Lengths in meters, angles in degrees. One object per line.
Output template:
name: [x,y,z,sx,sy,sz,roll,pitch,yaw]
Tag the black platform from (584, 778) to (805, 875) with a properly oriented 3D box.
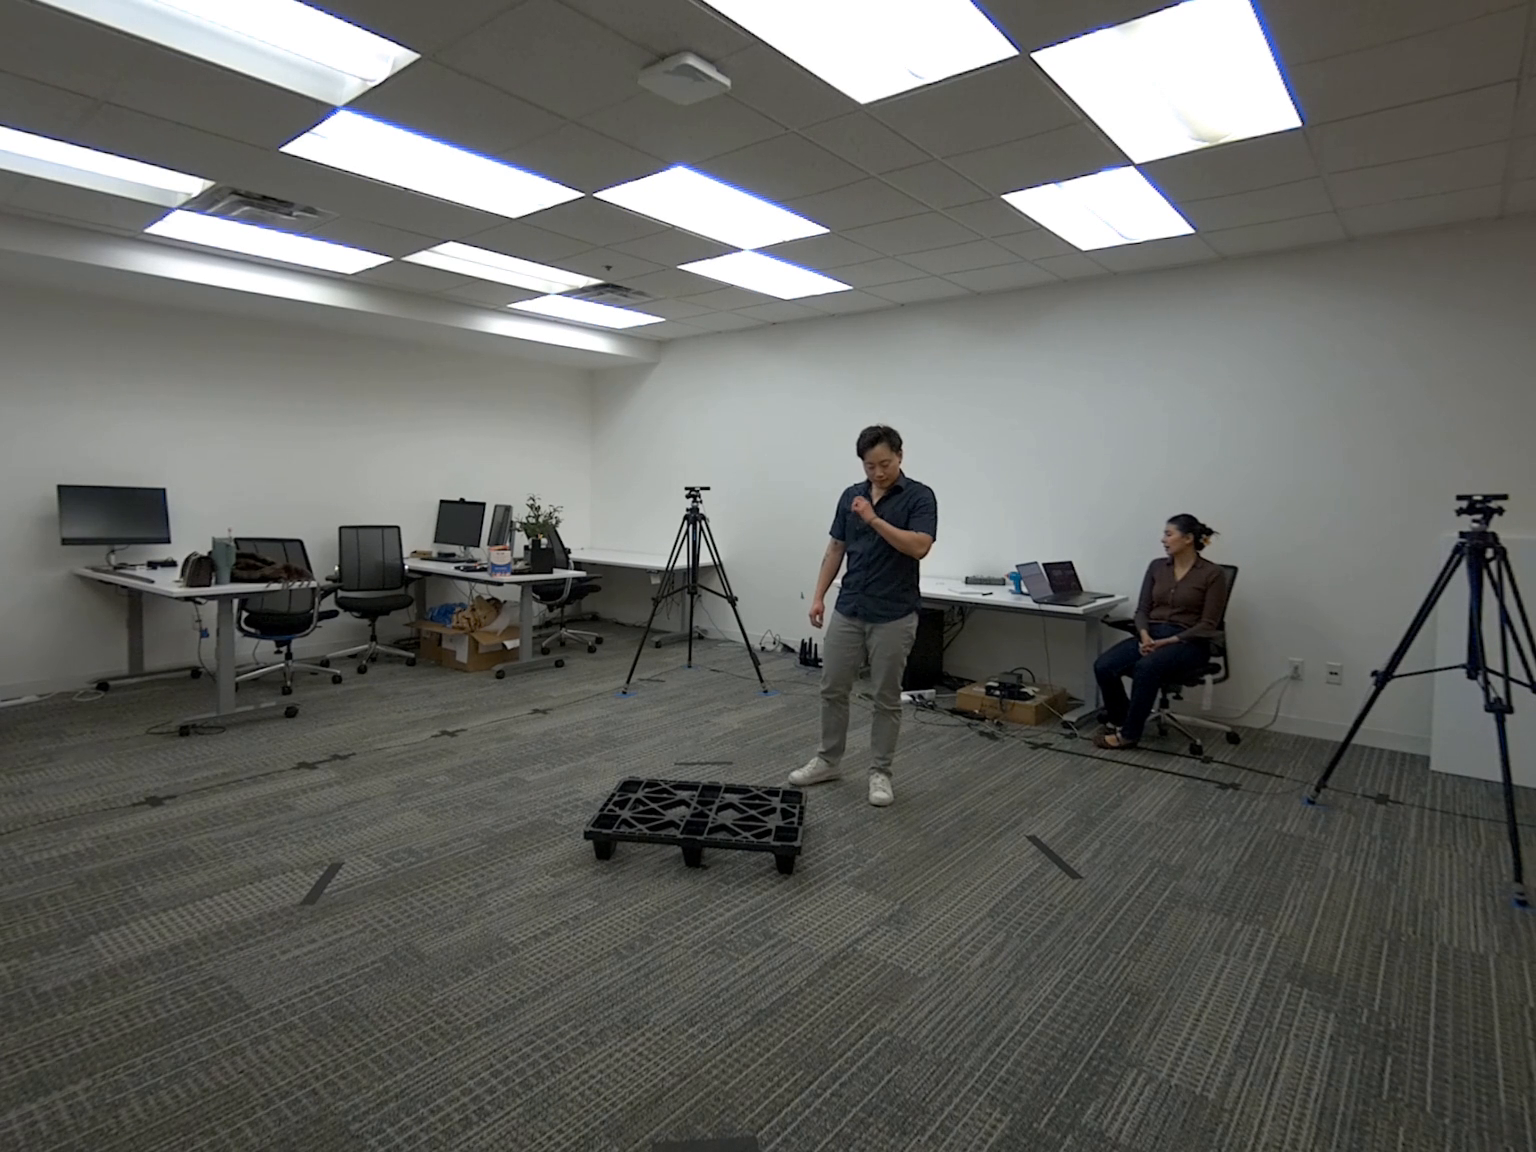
black platform: [-0.264,0.974,3.340,0.812,0.143,0.603,1,6,7]
